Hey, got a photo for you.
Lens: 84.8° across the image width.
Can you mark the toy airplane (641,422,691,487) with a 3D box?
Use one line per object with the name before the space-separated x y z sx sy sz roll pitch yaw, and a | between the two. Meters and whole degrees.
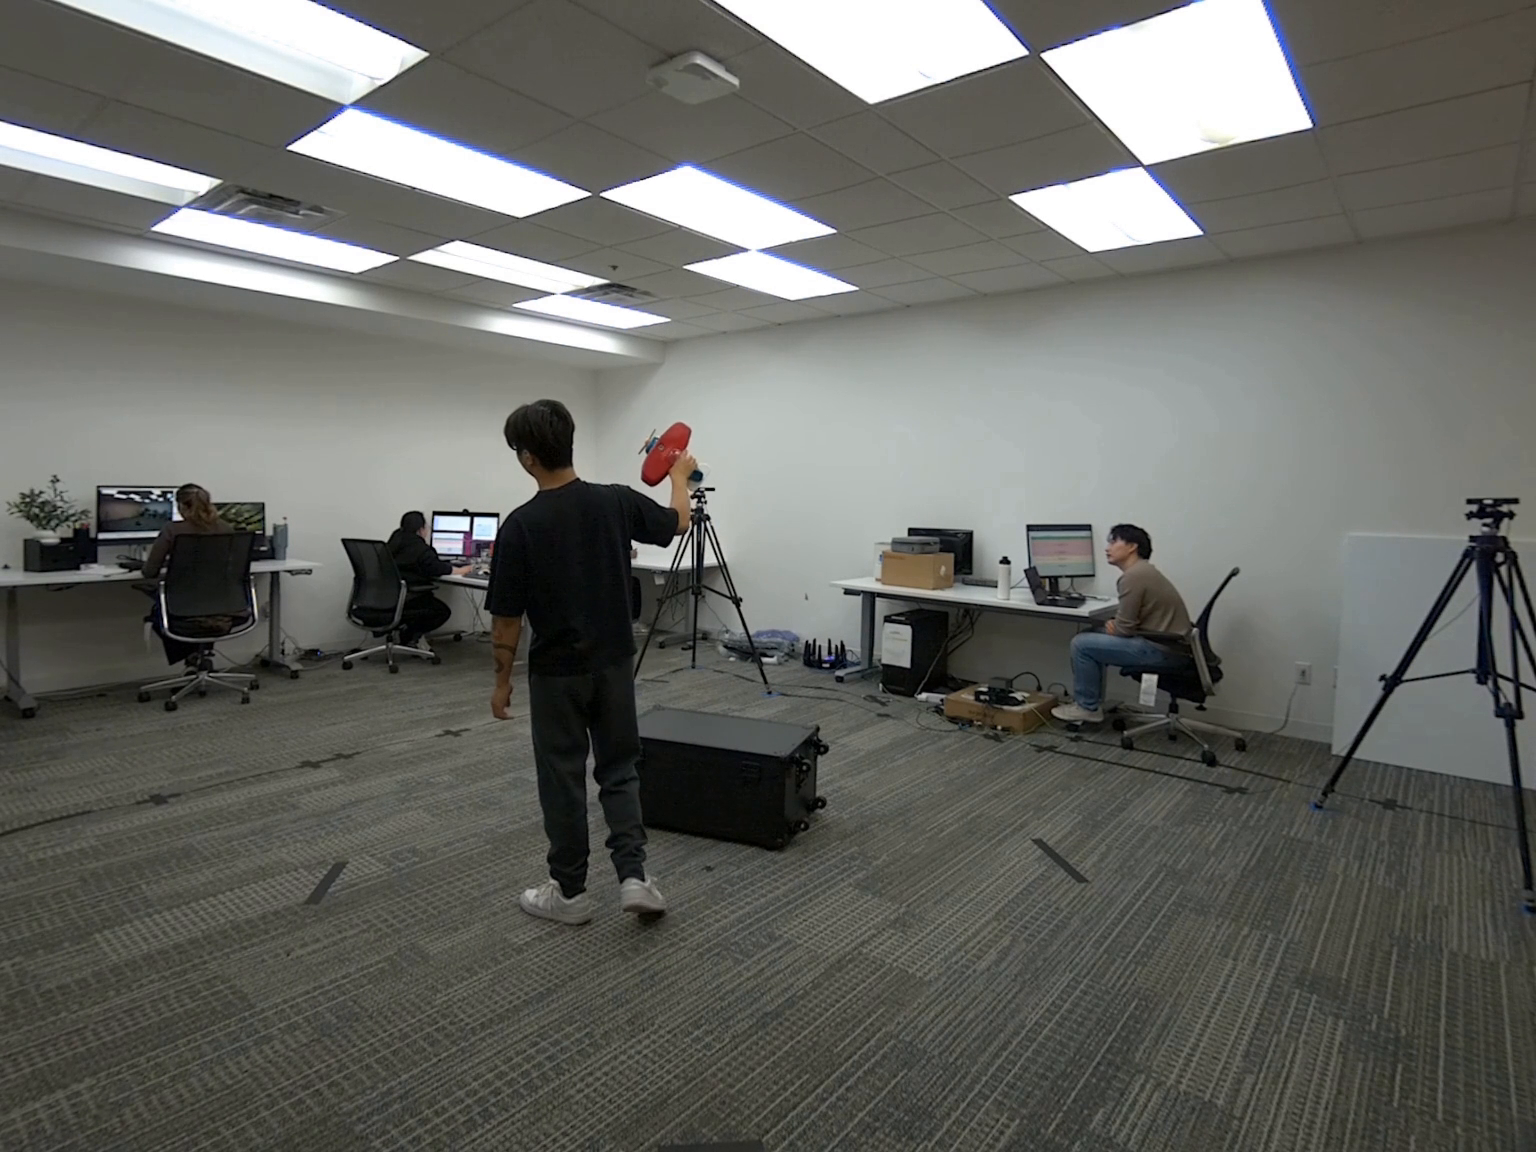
toy airplane | -0.357 -0.449 3.205 0.261 0.255 0.153 4 -19 6
